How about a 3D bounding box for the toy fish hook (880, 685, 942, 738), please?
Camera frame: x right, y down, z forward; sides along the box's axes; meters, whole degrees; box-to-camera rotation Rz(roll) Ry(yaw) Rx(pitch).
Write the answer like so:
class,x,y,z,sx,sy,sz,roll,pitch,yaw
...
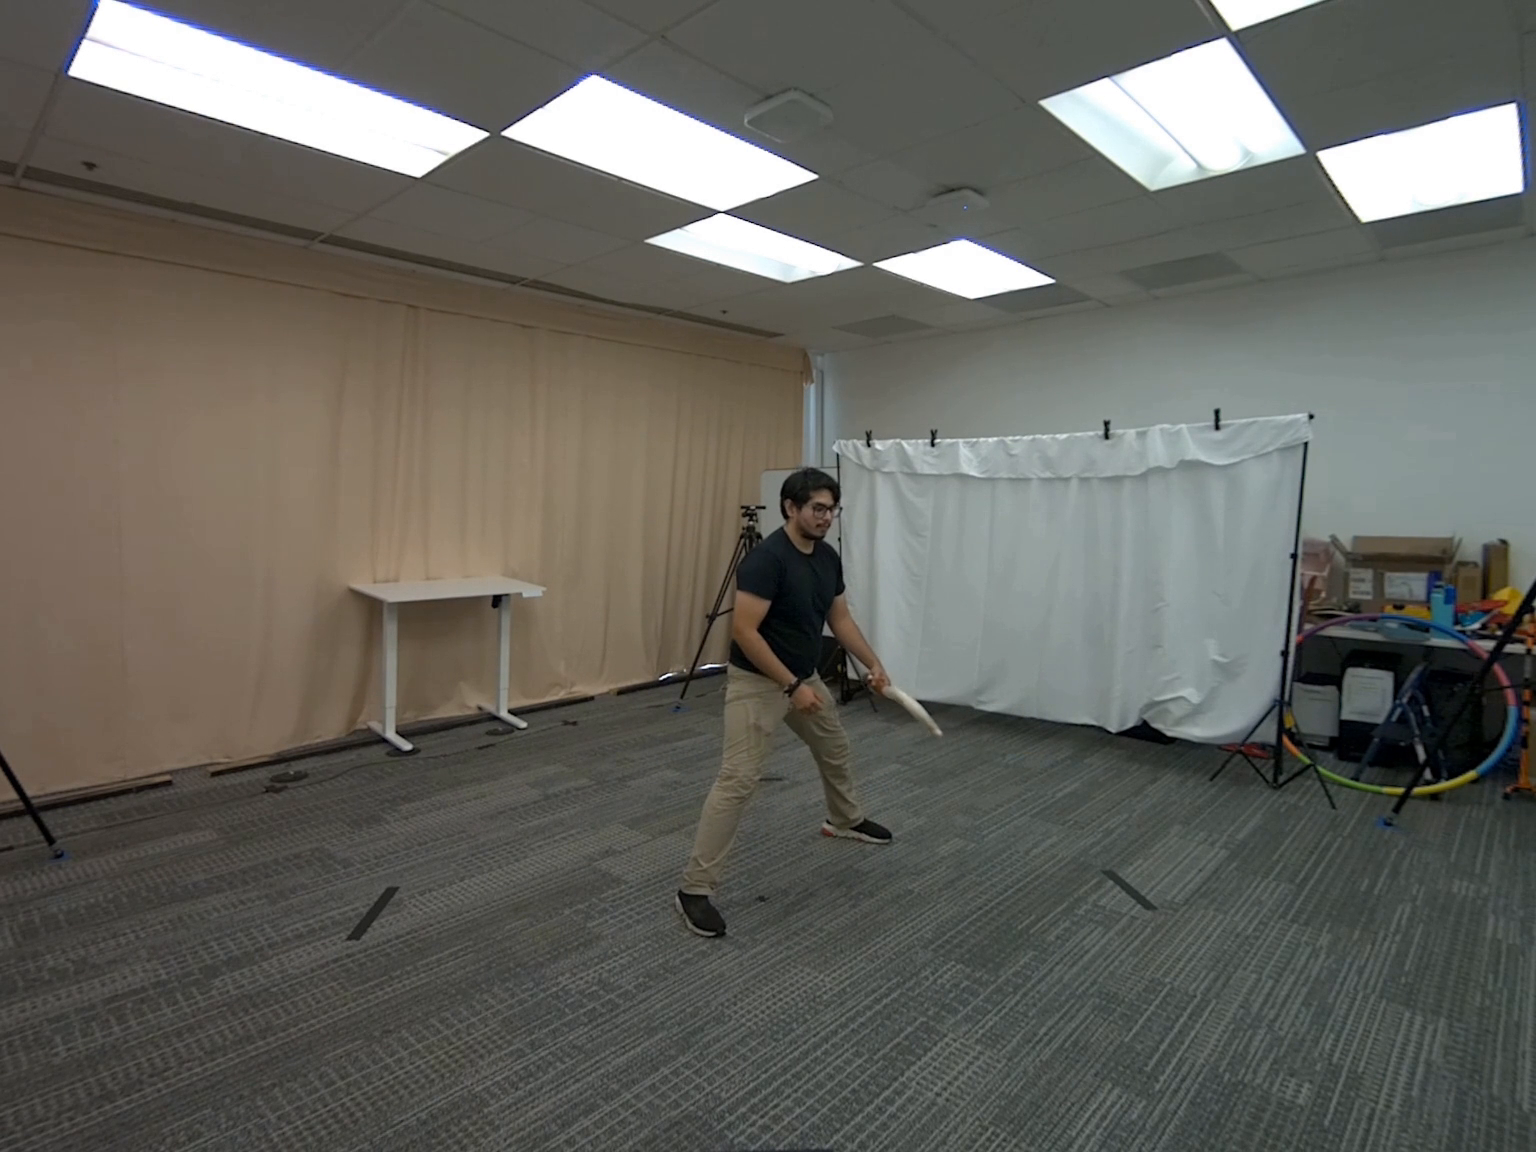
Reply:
class,x,y,z,sx,sy,sz,roll,pitch,yaw
toy fish hook,0.476,0.457,2.920,0.048,0.222,0.514,-40,11,-5
